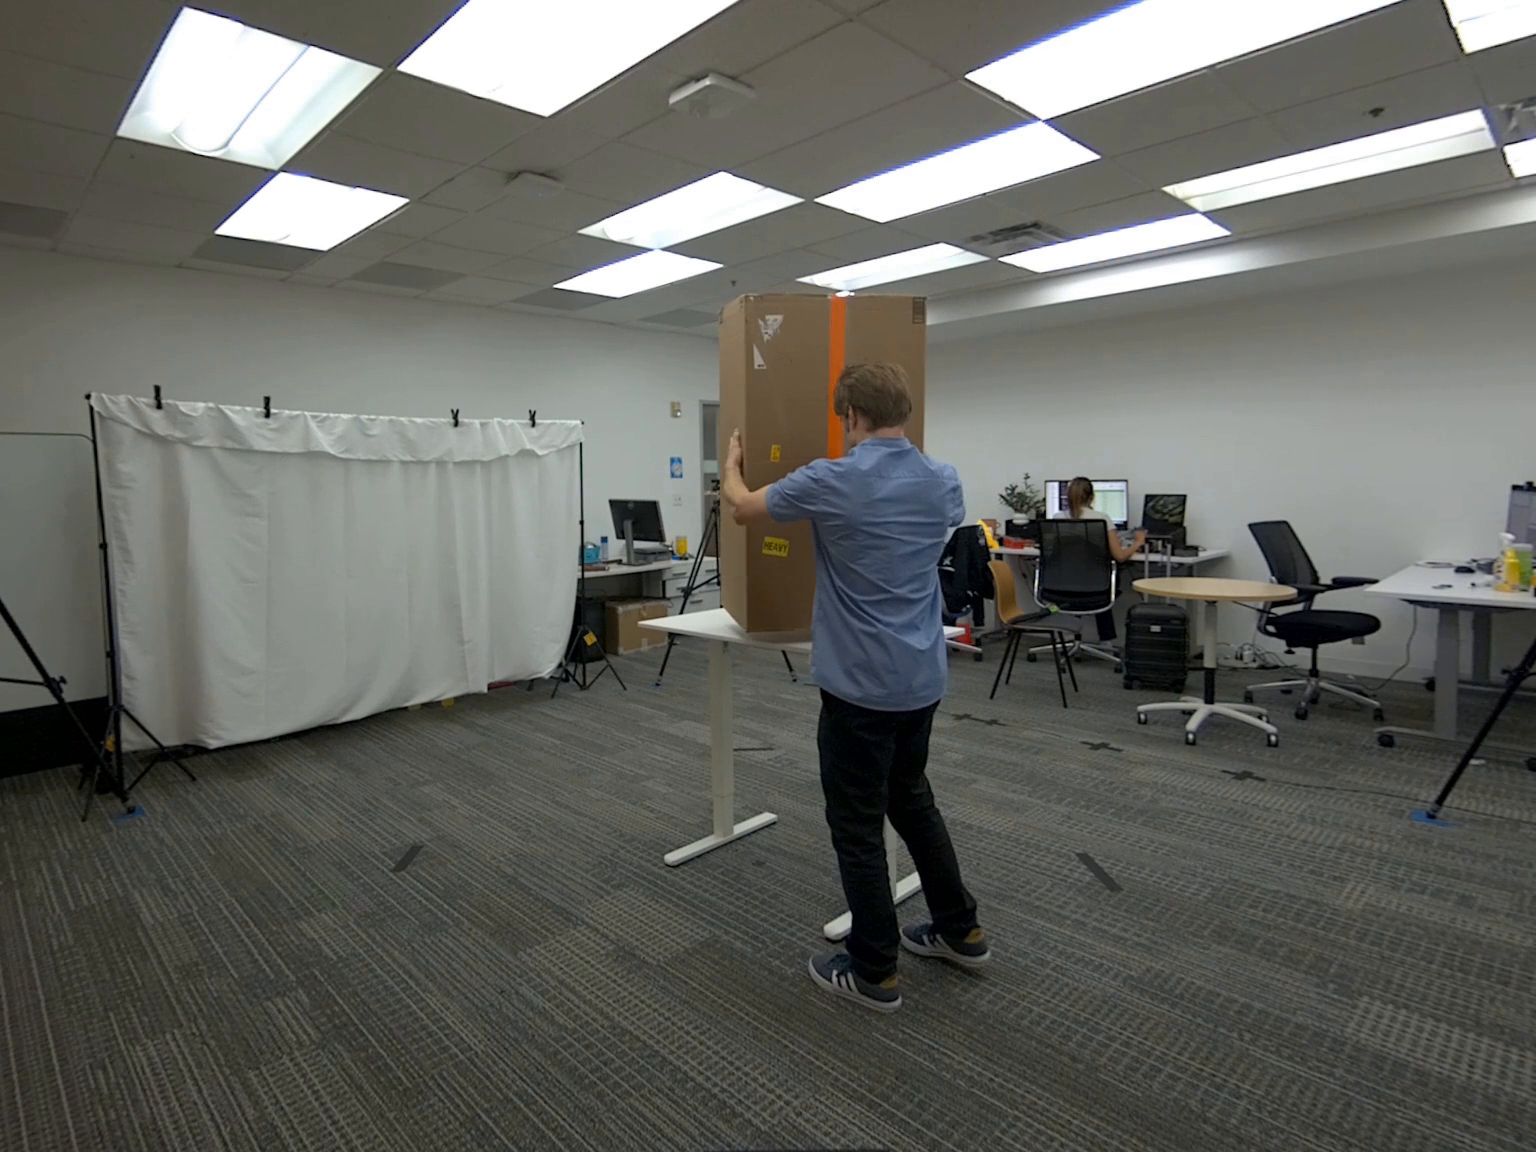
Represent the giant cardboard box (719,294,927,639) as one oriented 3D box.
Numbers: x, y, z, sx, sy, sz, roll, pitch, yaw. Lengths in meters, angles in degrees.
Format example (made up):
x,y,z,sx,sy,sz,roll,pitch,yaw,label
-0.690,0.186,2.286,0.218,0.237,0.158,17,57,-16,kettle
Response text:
x,y,z,sx,sy,sz,roll,pitch,yaw,label
0.162,-0.370,2.817,0.571,1.018,0.434,-2,8,-12,giant cardboard box
